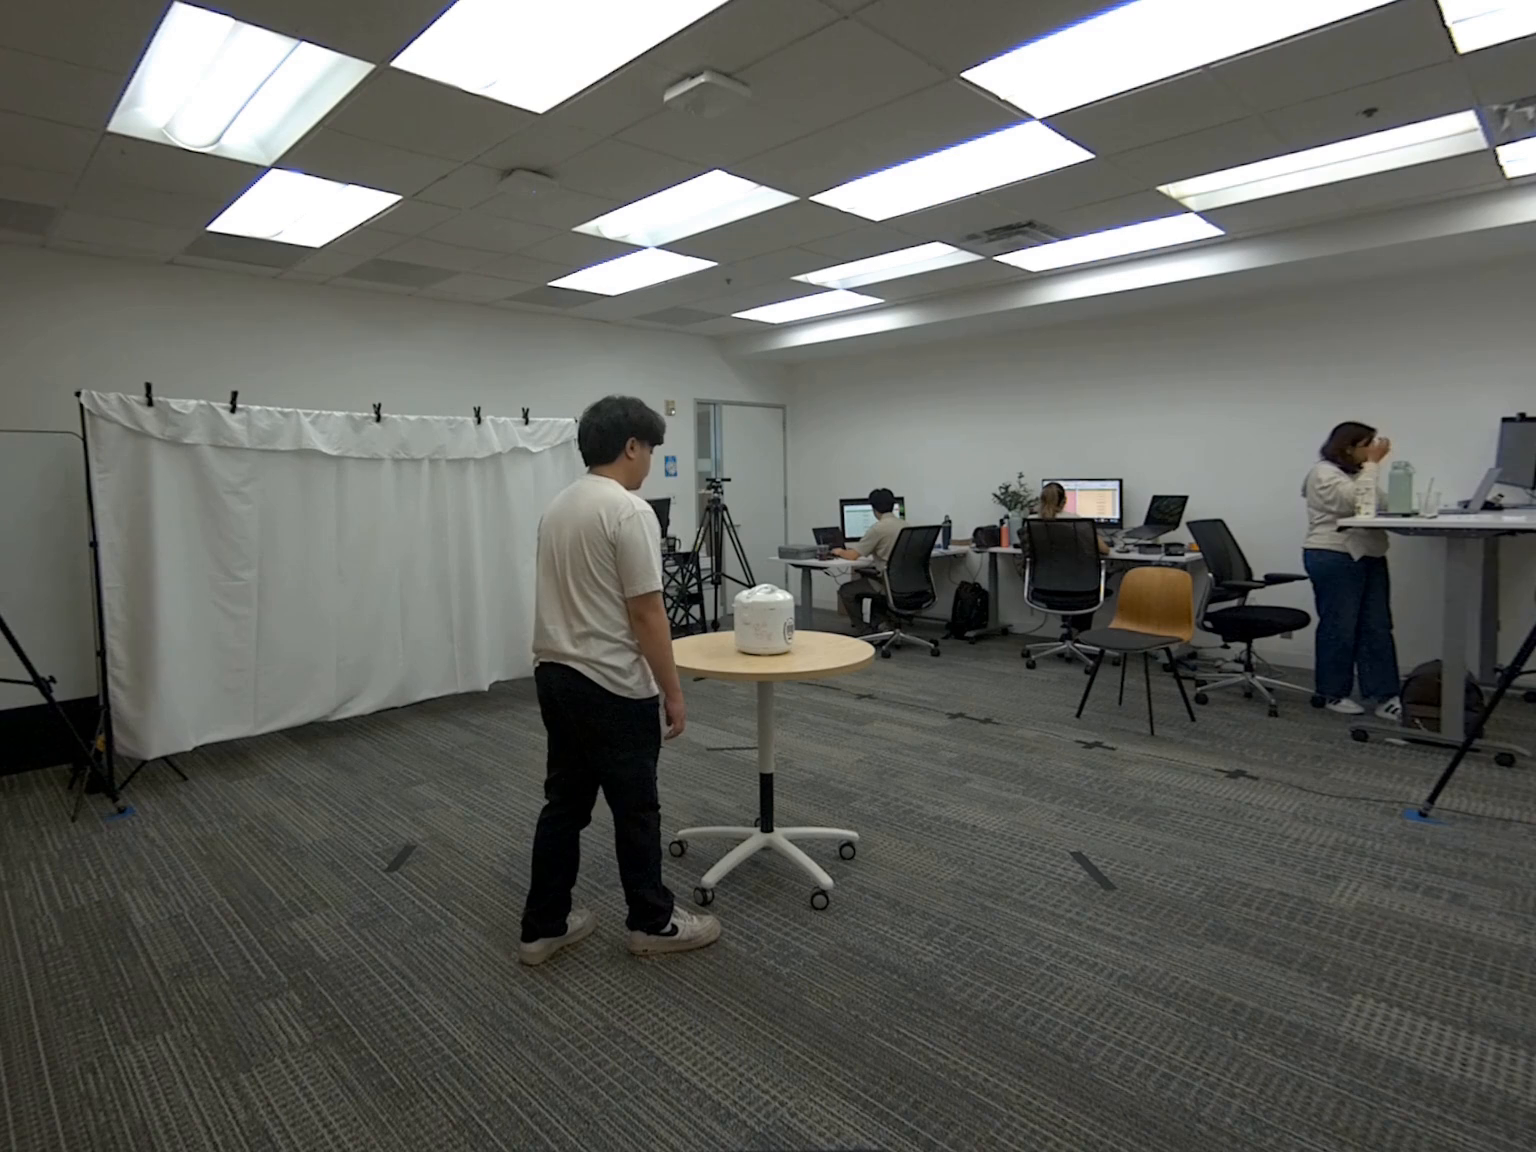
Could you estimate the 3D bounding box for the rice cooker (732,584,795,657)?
[{"bbox_3d":[-0.008,0.141,2.958,0.224,0.232,0.215,1,5,37],"label":"rice cooker"}]
